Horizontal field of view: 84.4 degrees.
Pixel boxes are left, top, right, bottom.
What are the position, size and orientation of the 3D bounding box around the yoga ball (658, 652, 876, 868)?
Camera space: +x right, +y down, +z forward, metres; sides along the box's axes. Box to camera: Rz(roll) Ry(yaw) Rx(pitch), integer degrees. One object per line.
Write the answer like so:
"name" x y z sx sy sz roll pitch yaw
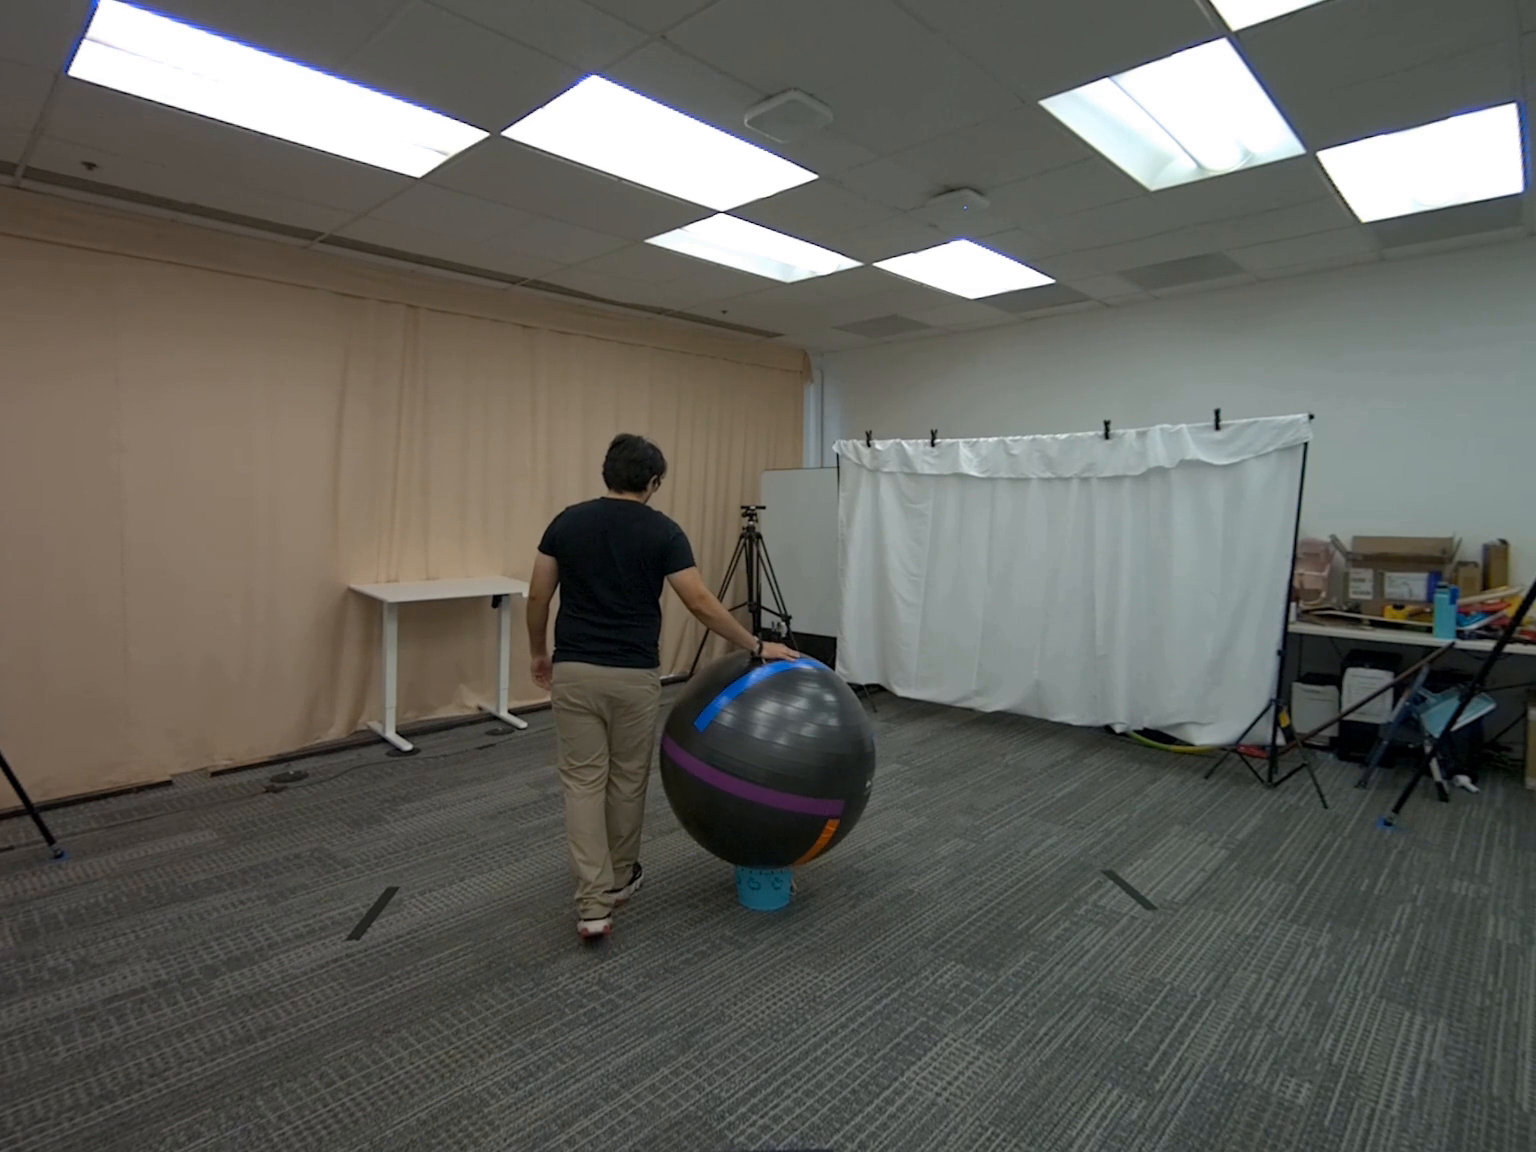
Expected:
"yoga ball" 0.006 0.635 2.971 0.757 0.756 0.760 0 4 -2
